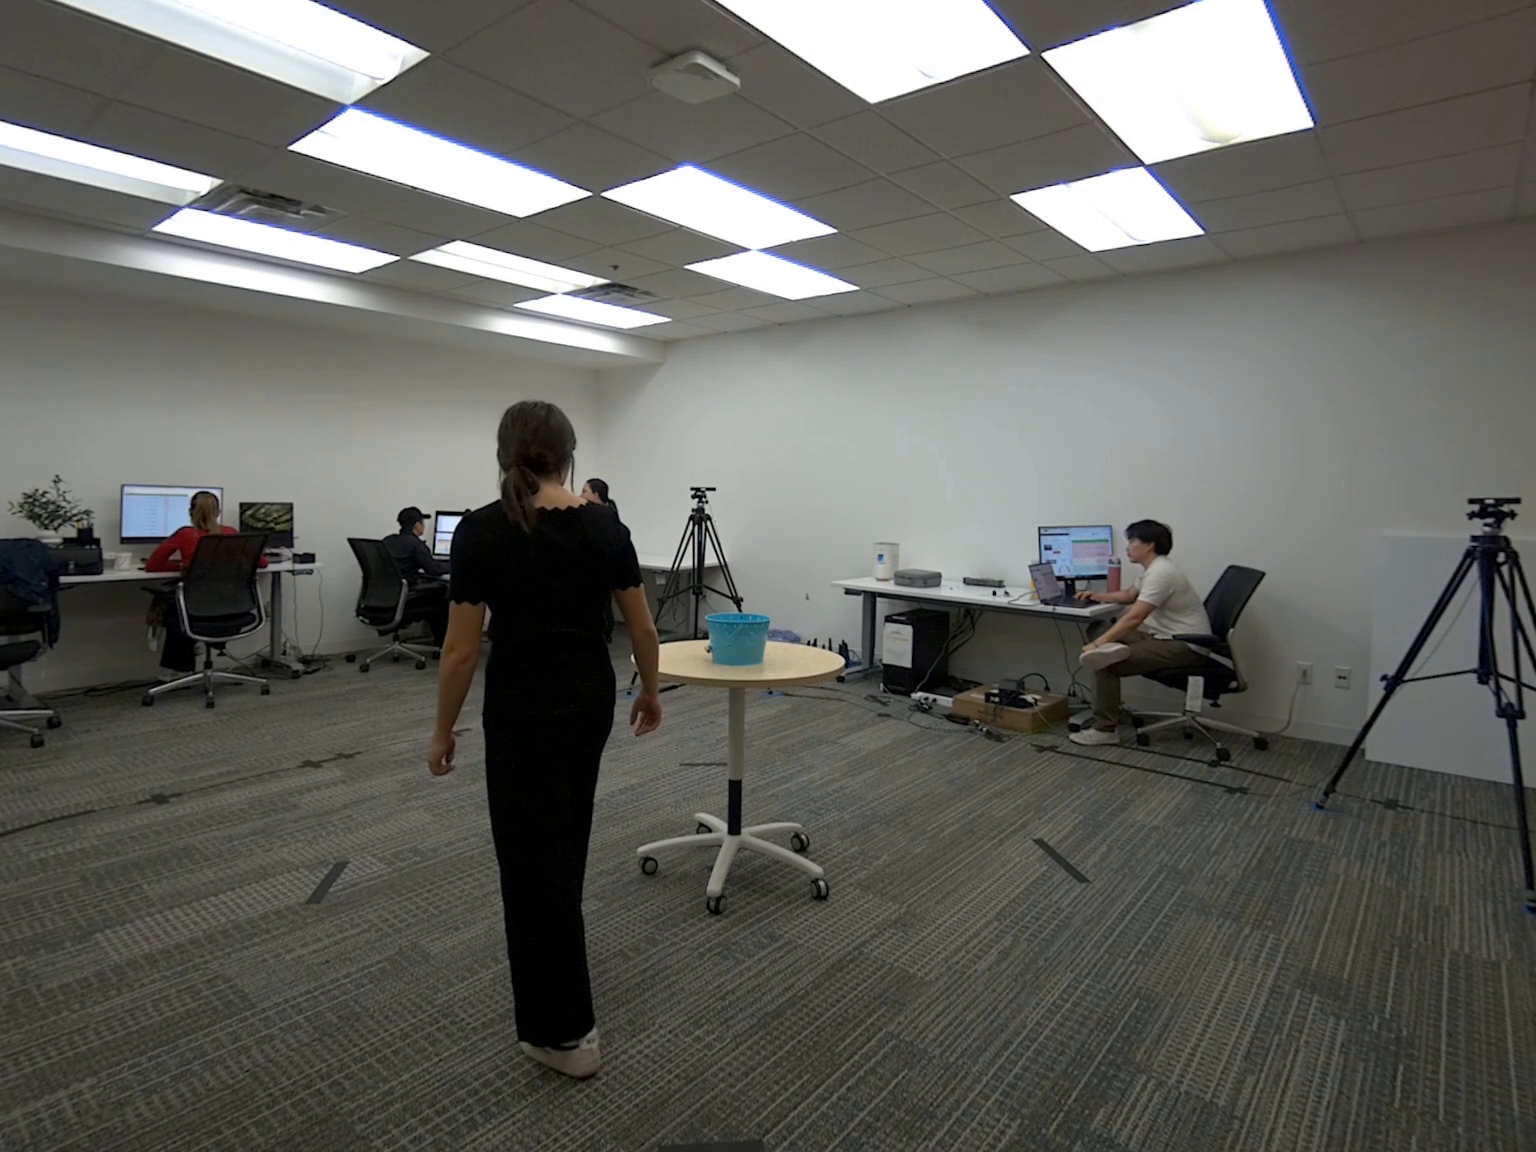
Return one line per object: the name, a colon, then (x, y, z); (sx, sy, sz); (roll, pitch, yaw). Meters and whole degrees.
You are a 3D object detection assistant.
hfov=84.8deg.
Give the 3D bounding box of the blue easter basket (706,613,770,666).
blue easter basket: (-0.119, 0.221, 3.003); (0.243, 0.155, 0.245); (1, 5, -2)
